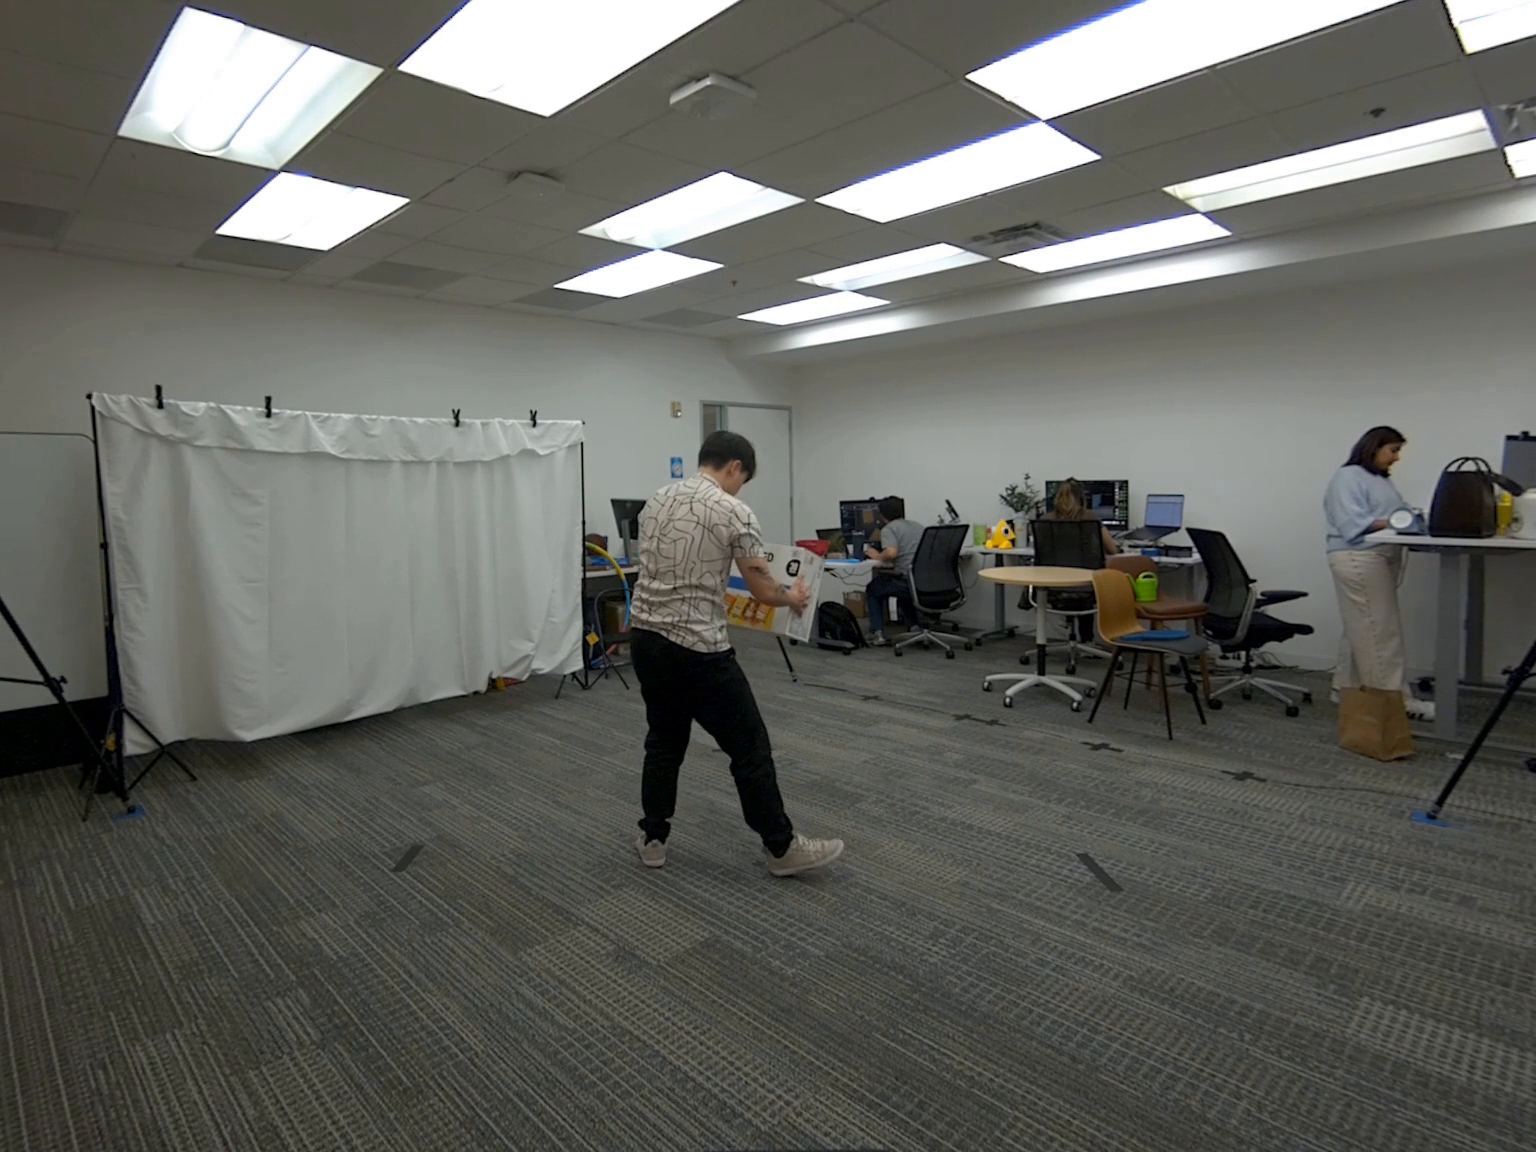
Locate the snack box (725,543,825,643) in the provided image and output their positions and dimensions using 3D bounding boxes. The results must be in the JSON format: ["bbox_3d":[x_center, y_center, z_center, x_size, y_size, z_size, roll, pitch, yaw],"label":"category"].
[{"bbox_3d":[-0.008,0.052,3.433,0.417,0.342,0.198,9,-9,33],"label":"snack box"}]
